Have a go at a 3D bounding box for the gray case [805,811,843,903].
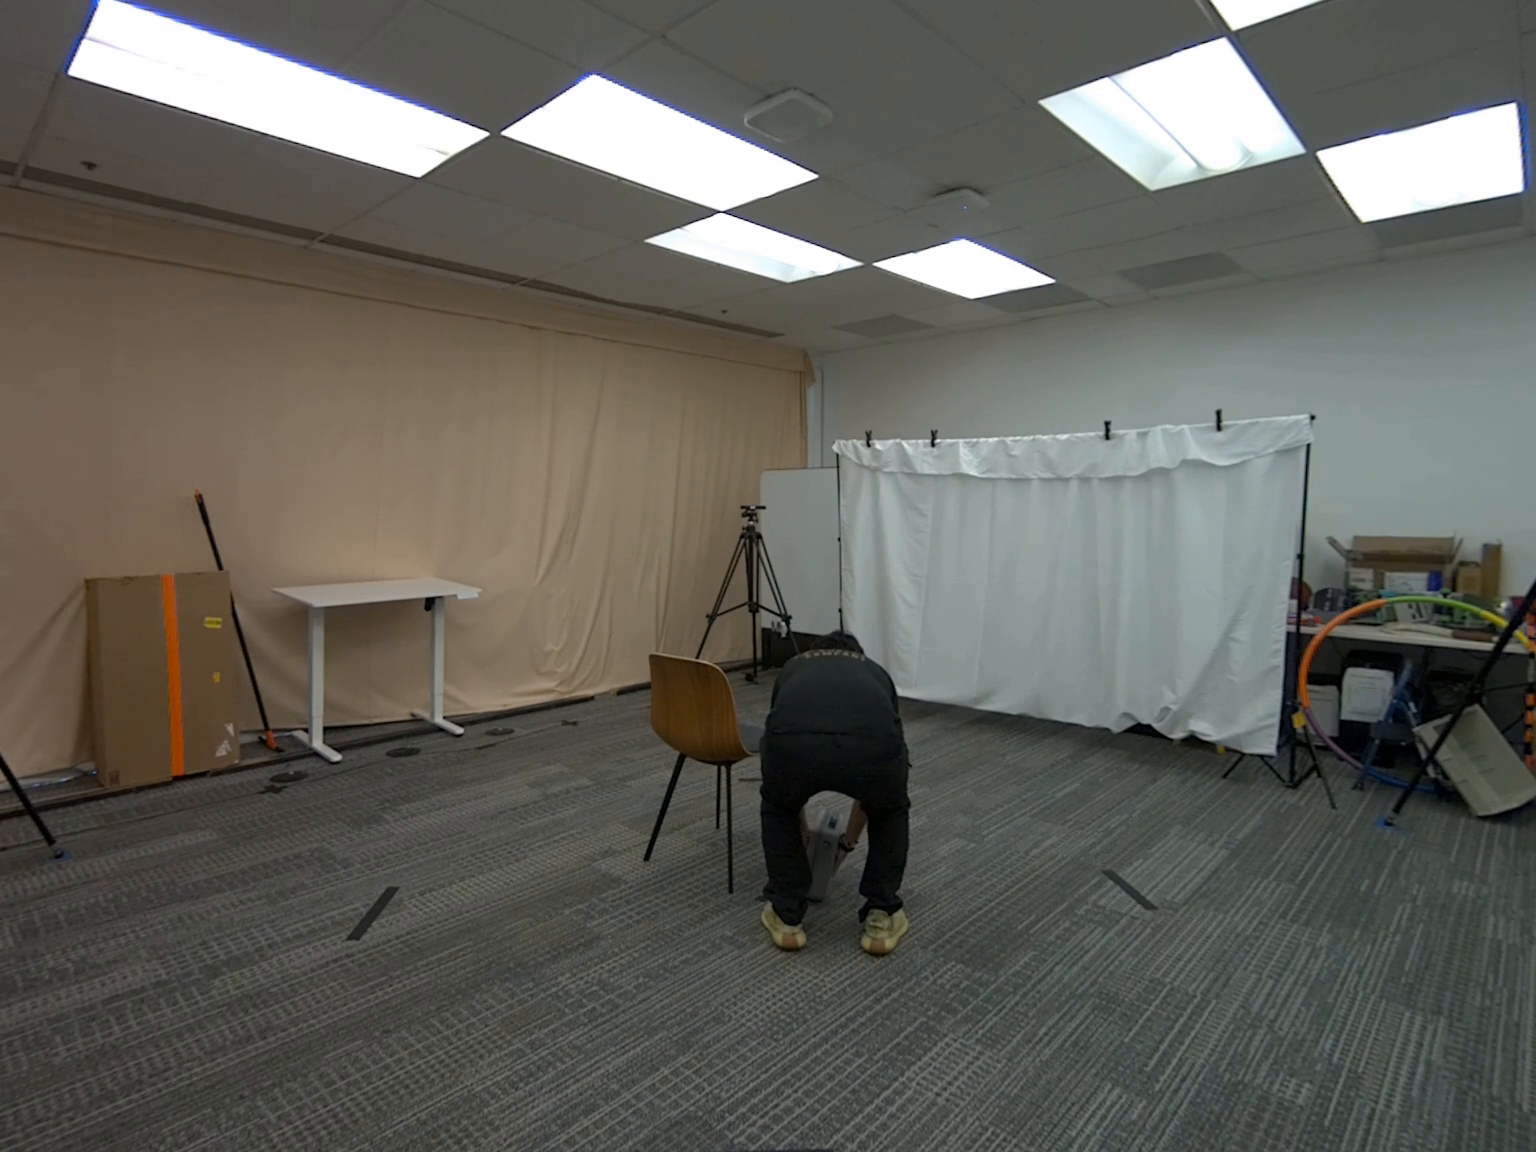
[{"bbox_3d":[0.200,0.992,3.038,0.105,0.260,0.255,14,5,6],"label":"gray case"}]
